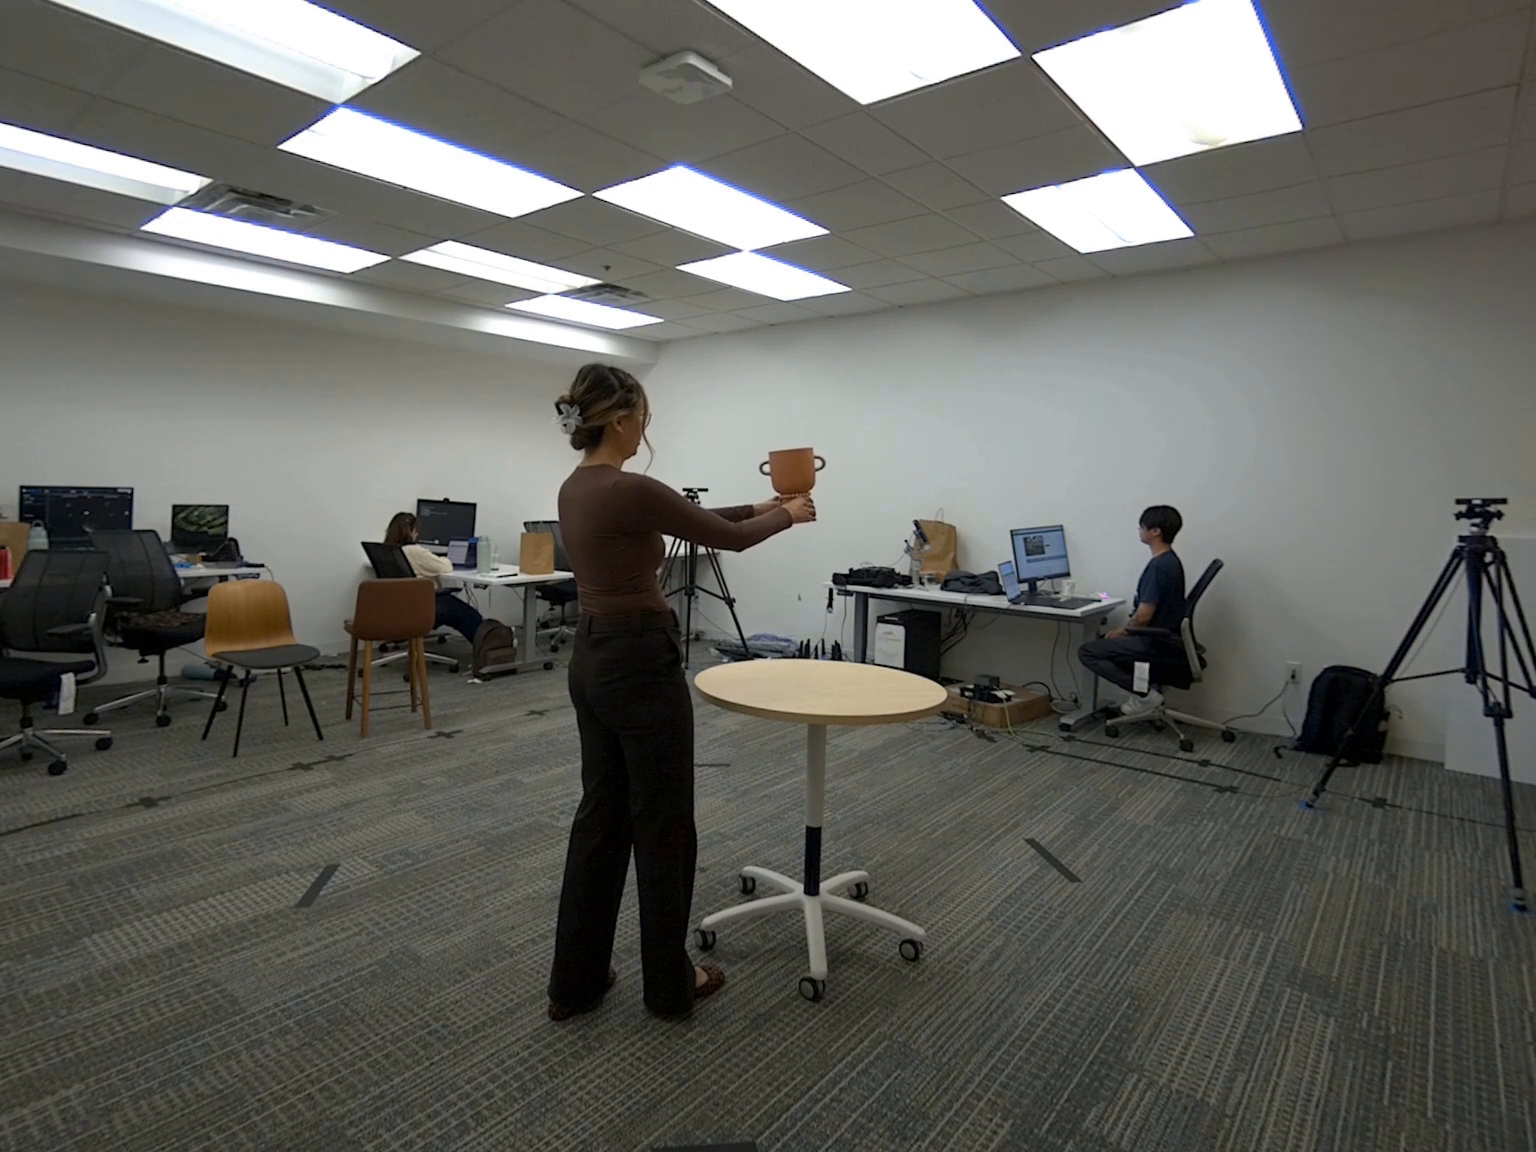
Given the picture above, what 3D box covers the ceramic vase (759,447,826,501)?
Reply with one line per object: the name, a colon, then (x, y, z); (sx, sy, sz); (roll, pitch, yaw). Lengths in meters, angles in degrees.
ceramic vase: (0.073, -0.273, 2.553); (0.164, 0.219, 0.131); (0, 5, 44)
